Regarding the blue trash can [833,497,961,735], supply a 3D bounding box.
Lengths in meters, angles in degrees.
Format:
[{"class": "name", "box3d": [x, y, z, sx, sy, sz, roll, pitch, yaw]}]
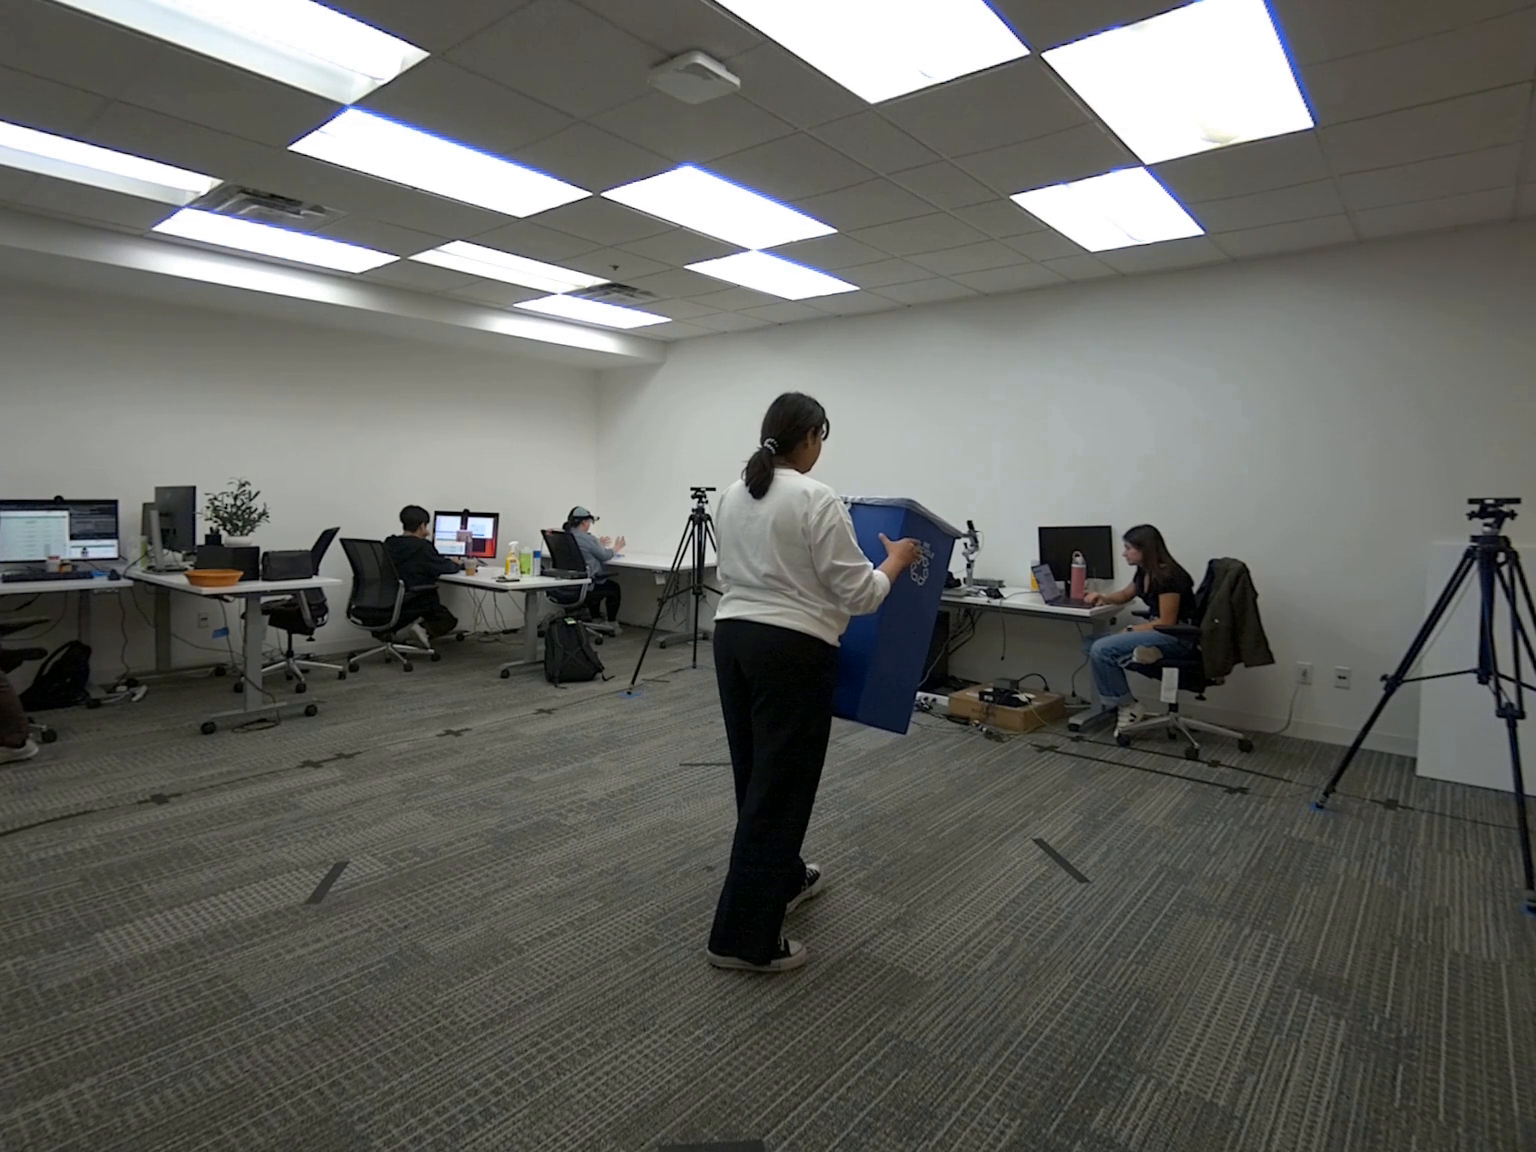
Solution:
[{"class": "blue trash can", "box3d": [0.336, 0.125, 2.861, 0.391, 0.718, 0.359, 5, -13, 42]}]
